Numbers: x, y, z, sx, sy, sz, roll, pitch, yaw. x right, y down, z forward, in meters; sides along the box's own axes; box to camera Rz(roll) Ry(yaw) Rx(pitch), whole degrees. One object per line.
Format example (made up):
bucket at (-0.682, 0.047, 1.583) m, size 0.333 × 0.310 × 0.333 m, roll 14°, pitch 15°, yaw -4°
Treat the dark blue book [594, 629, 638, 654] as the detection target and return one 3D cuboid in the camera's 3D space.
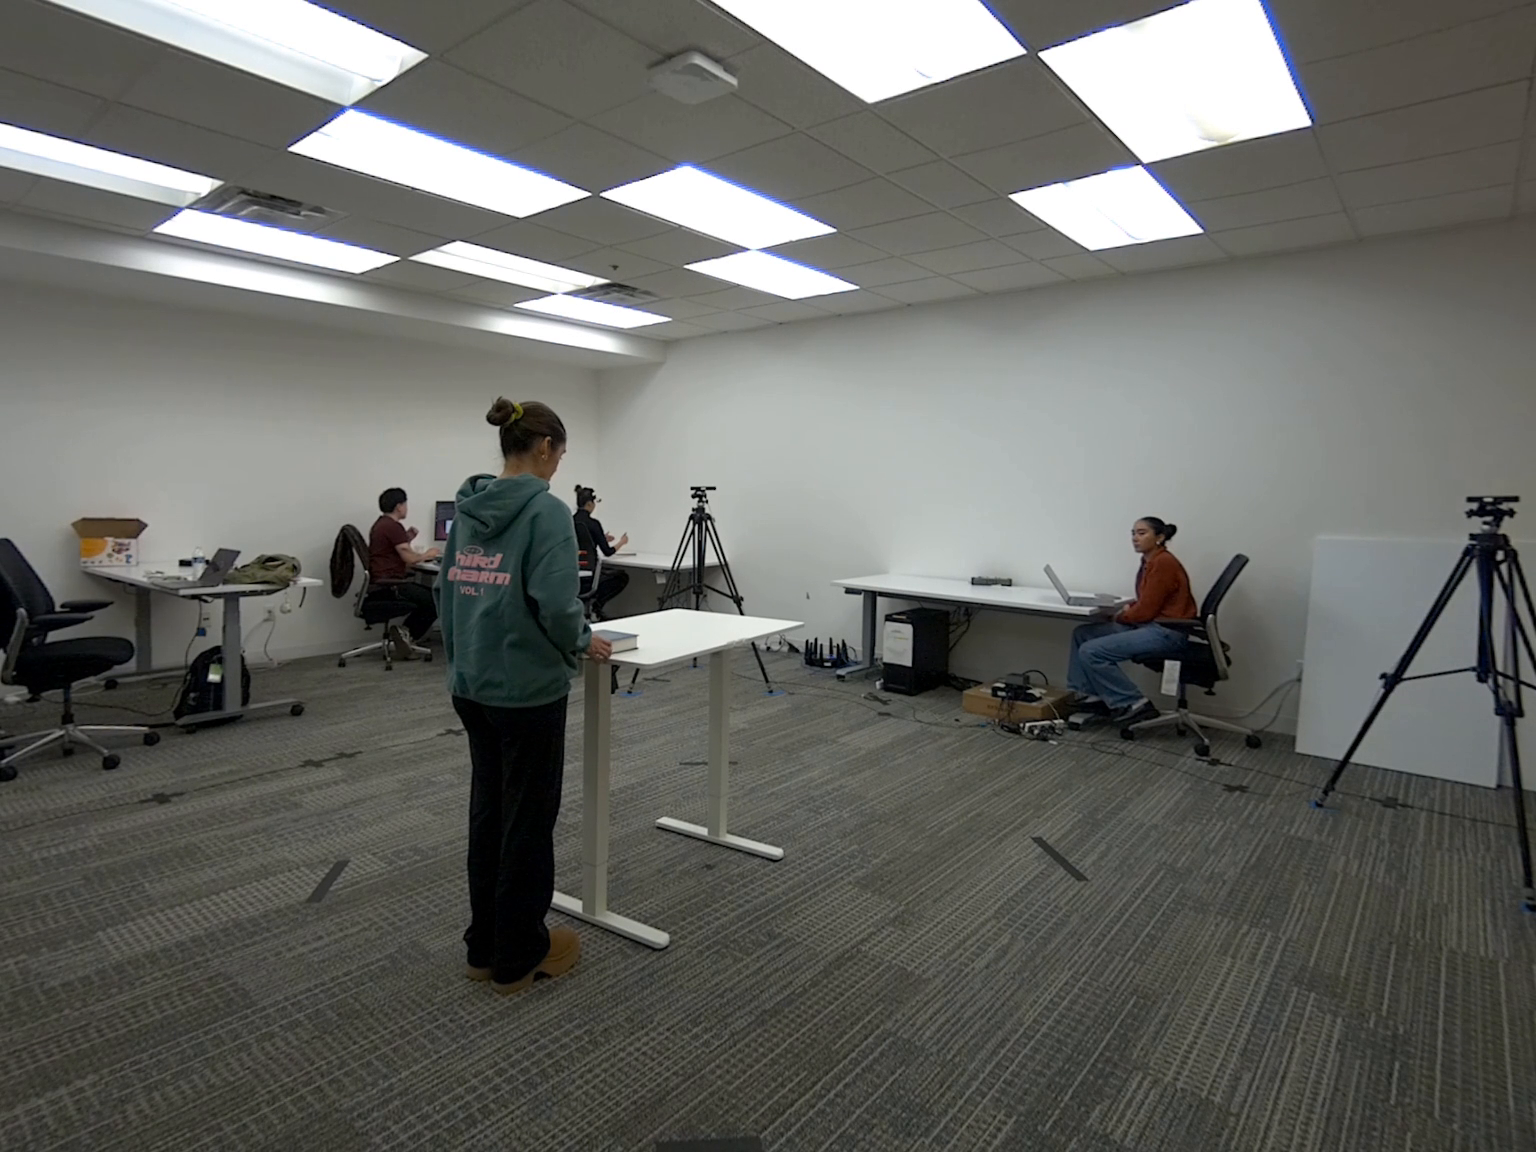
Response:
dark blue book at (-0.551, 0.208, 2.592) m, size 0.169 × 0.045 × 0.238 m, roll 5°, pitch 7°, yaw 35°
